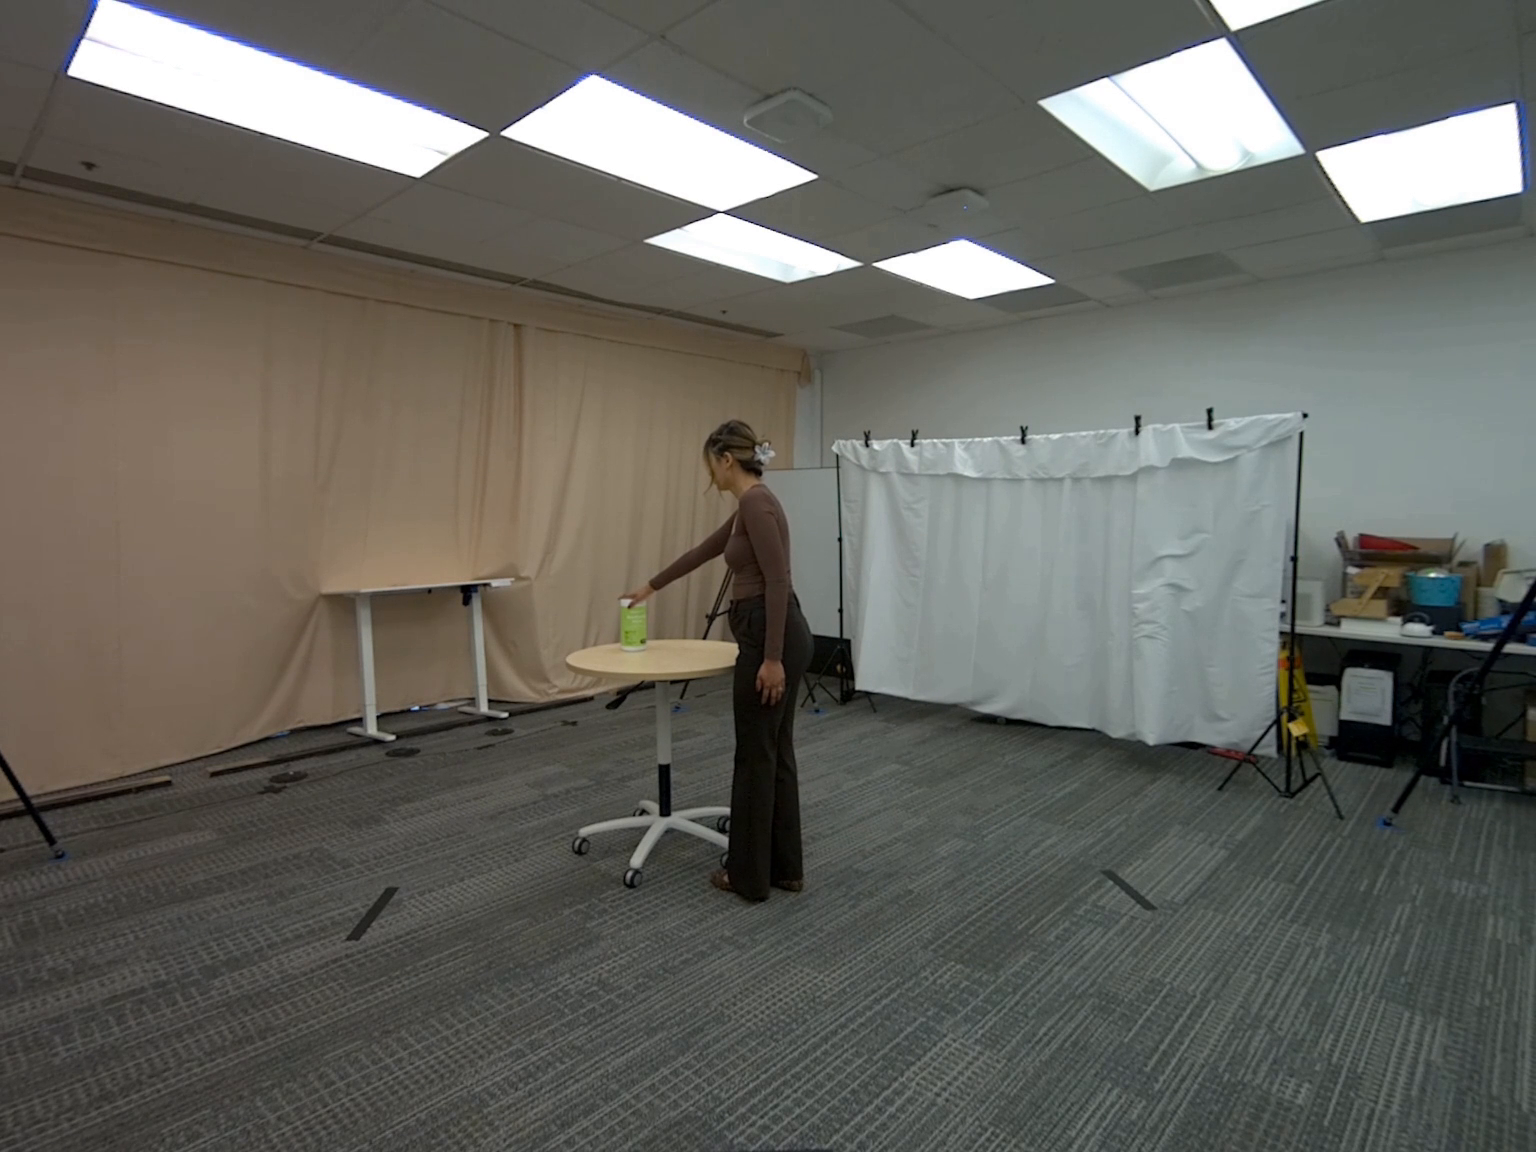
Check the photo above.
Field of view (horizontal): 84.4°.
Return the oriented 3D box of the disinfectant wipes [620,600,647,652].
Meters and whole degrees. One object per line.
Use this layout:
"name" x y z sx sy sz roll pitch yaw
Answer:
"disinfectant wipes" -0.565 0.203 3.524 0.117 0.217 0.118 2 3 -2
